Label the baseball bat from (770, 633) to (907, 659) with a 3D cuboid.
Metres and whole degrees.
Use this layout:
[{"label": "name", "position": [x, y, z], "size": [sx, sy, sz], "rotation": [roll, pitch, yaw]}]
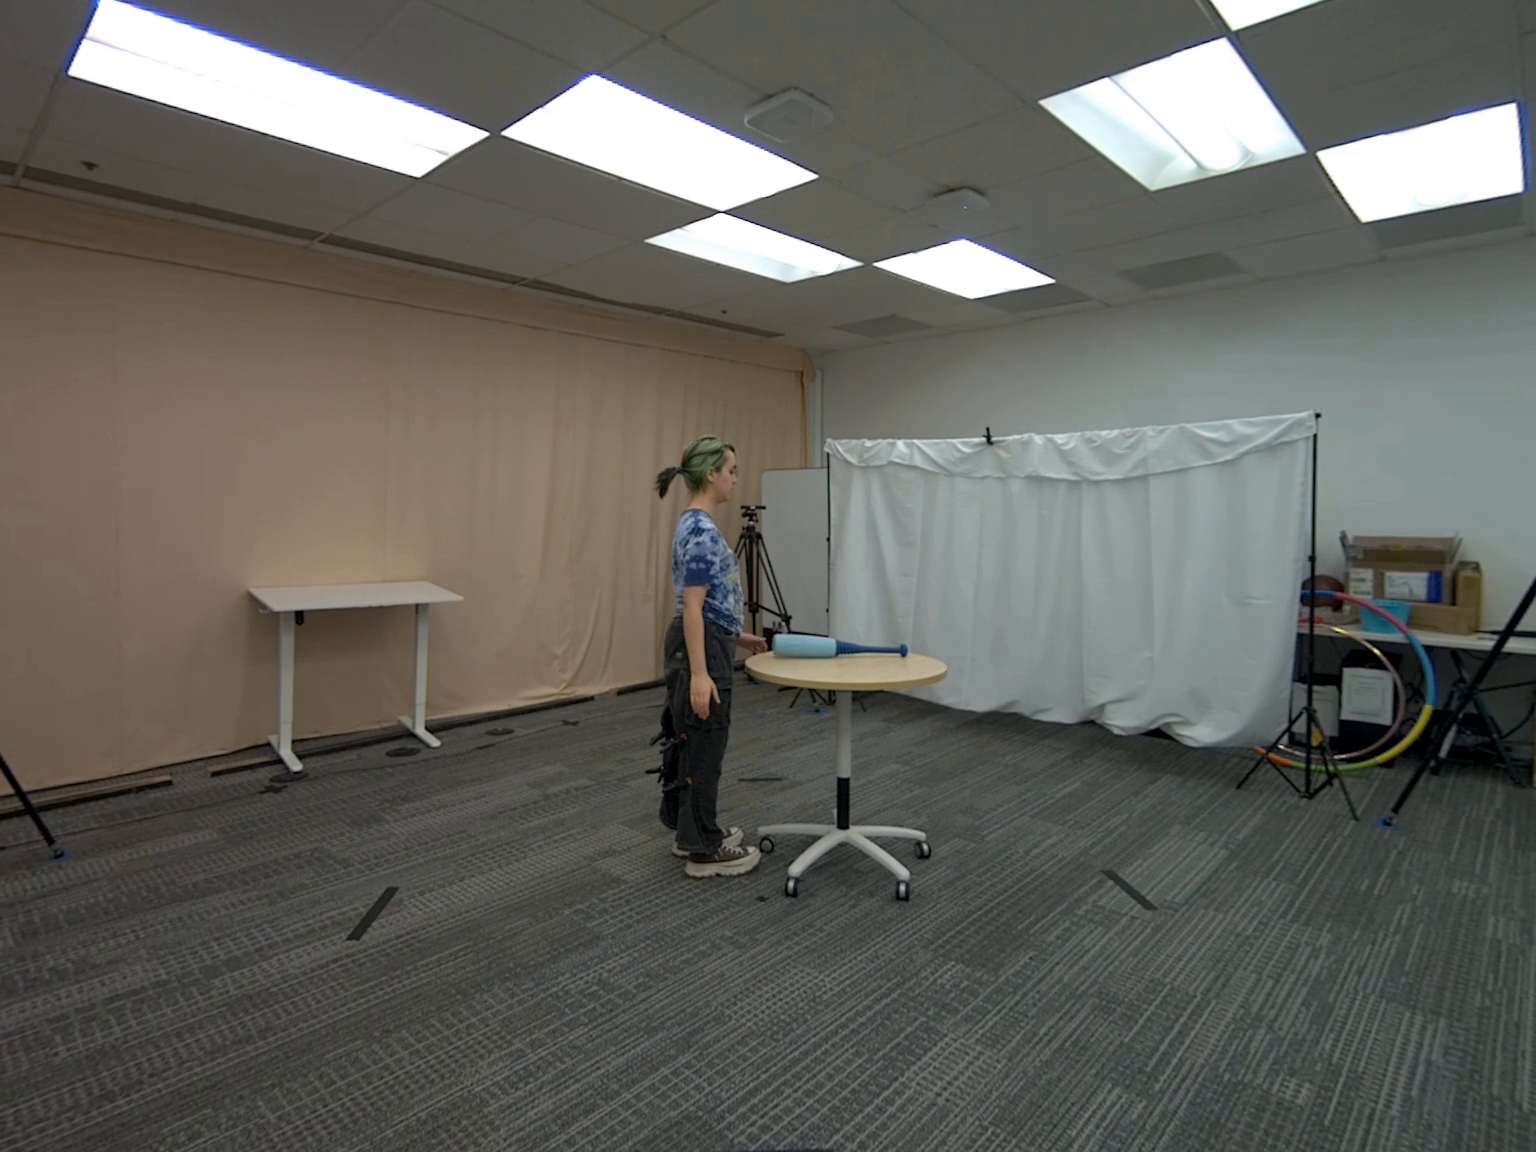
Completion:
[{"label": "baseball bat", "position": [0.293, 0.290, 3.374], "size": [0.541, 0.089, 0.089], "rotation": [2, 4, -3]}]
